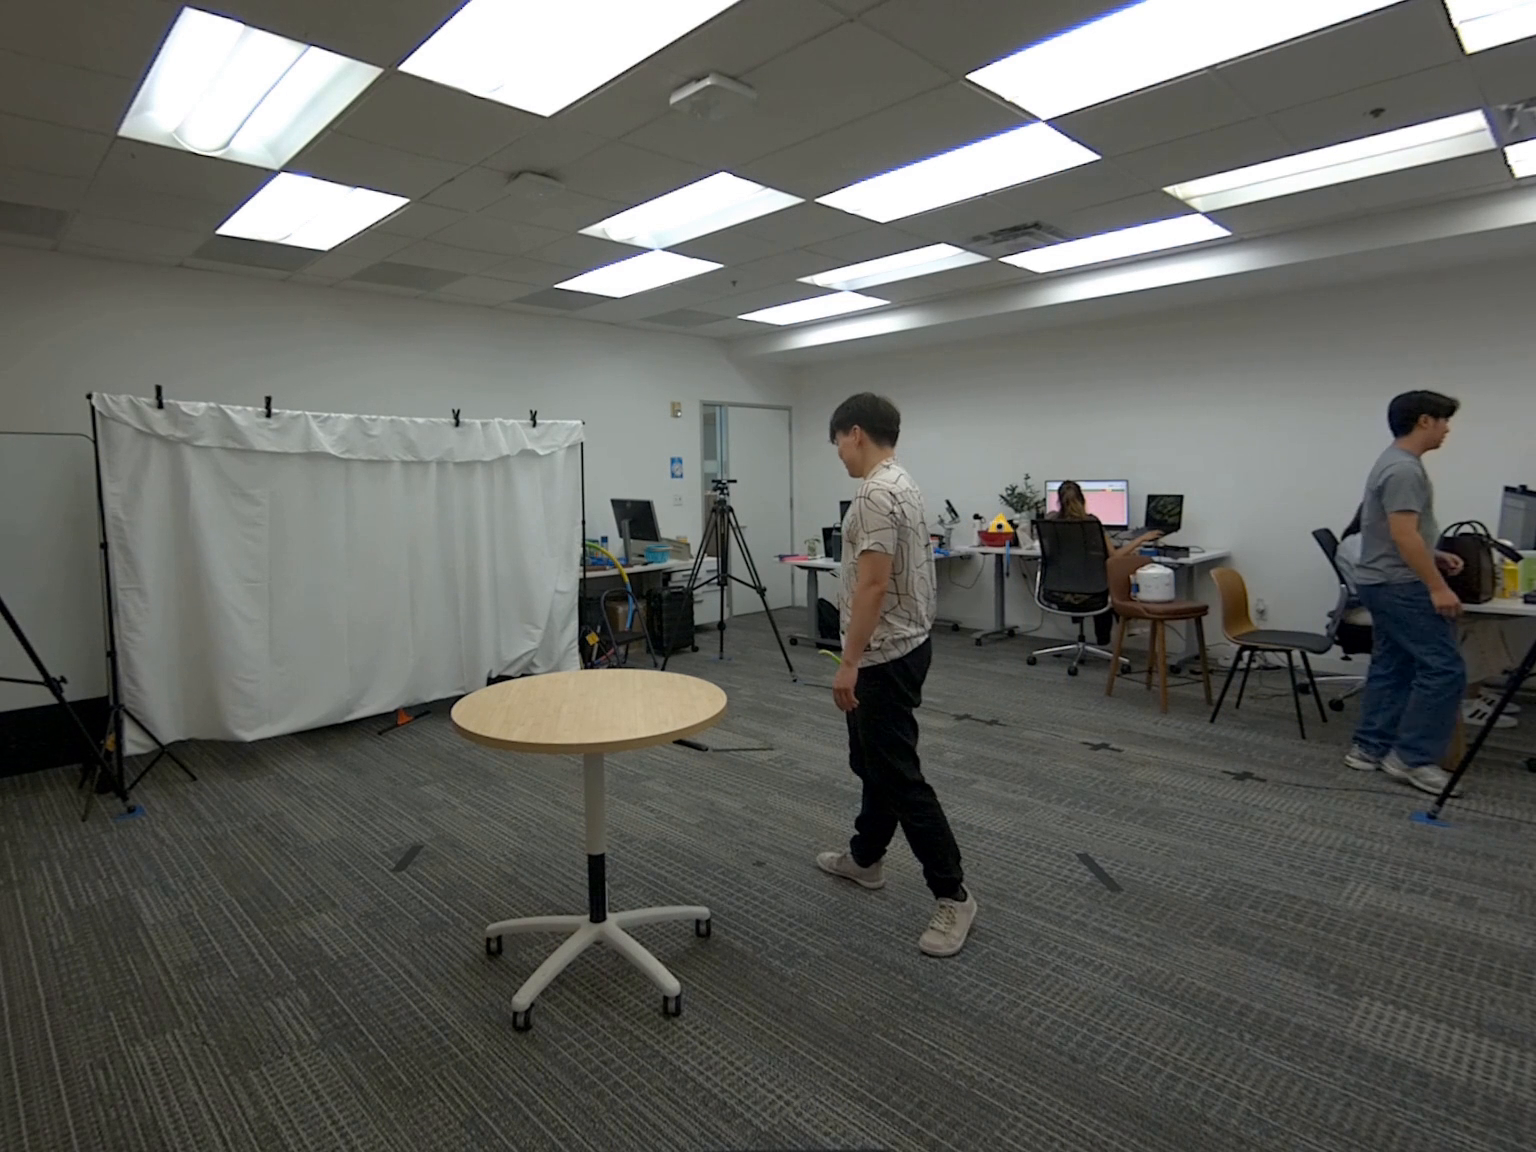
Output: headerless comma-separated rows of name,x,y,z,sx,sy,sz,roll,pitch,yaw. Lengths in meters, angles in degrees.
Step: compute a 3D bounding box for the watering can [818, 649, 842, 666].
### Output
watering can,0.358,0.339,3.145,0.283,0.175,0.097,-4,11,19
